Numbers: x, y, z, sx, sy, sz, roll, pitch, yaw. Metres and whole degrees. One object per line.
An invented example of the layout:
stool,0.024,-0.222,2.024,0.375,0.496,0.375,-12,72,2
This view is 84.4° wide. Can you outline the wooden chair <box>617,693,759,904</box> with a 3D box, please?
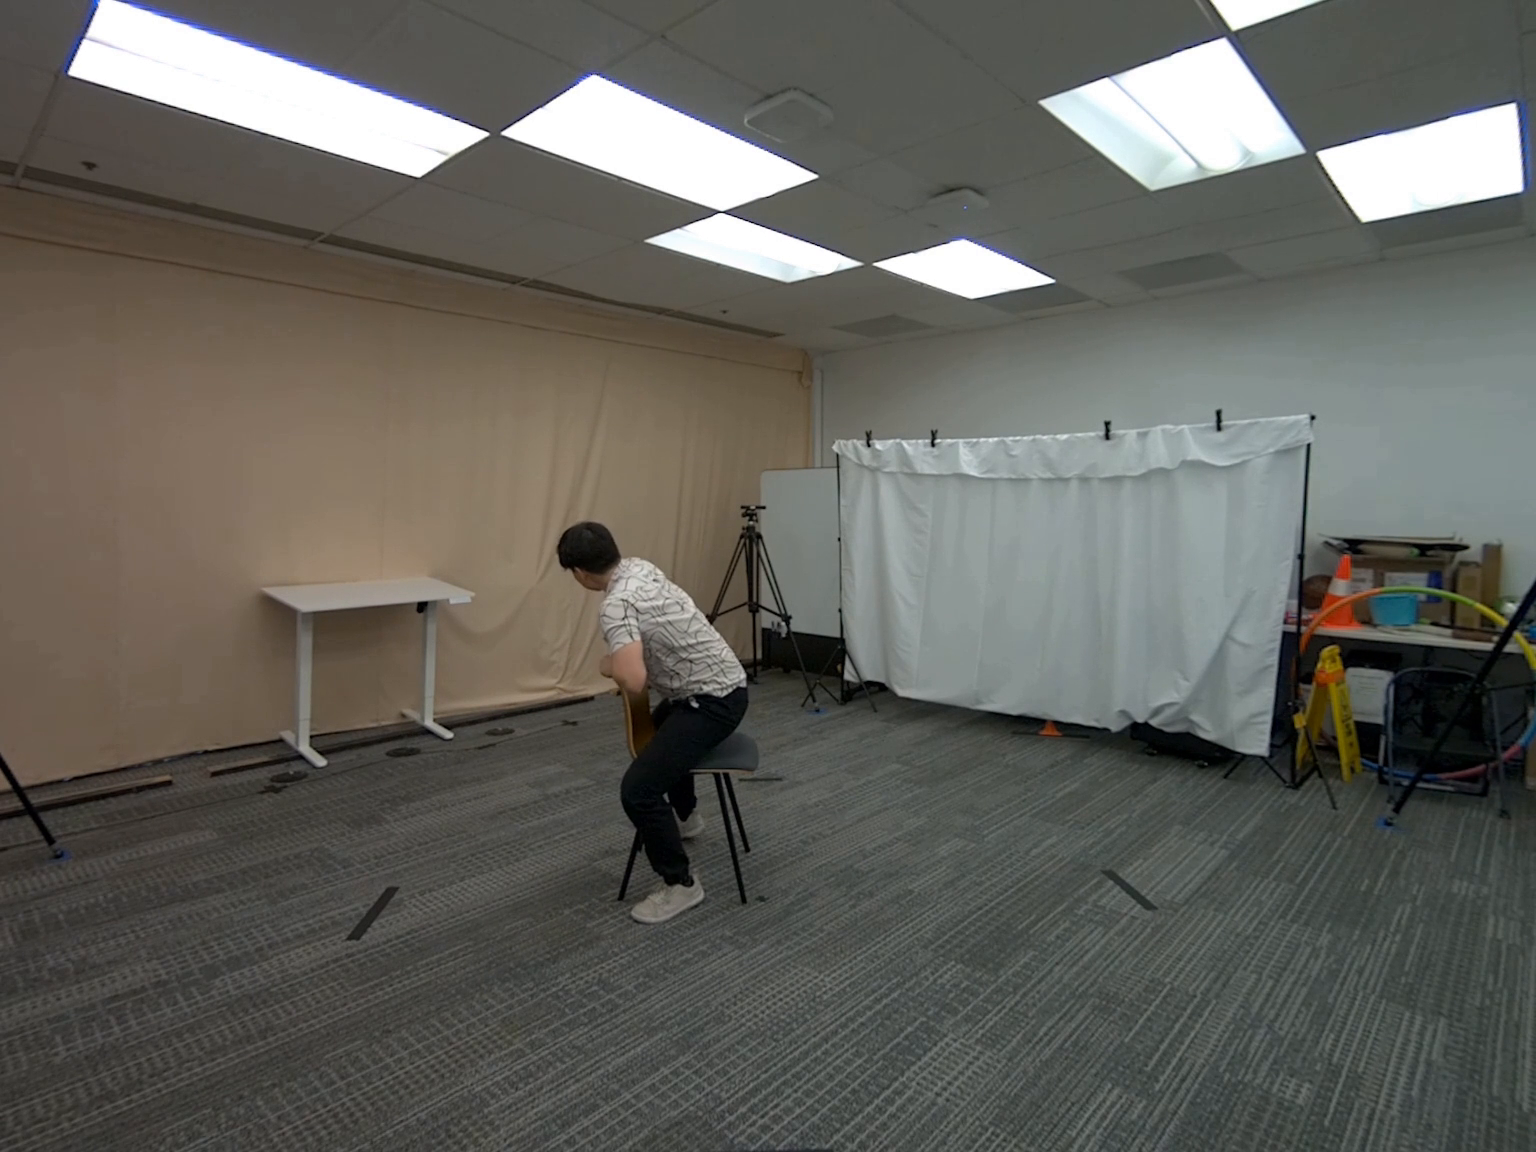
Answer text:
wooden chair,-0.295,0.709,3.161,0.525,0.875,0.478,-5,3,2
